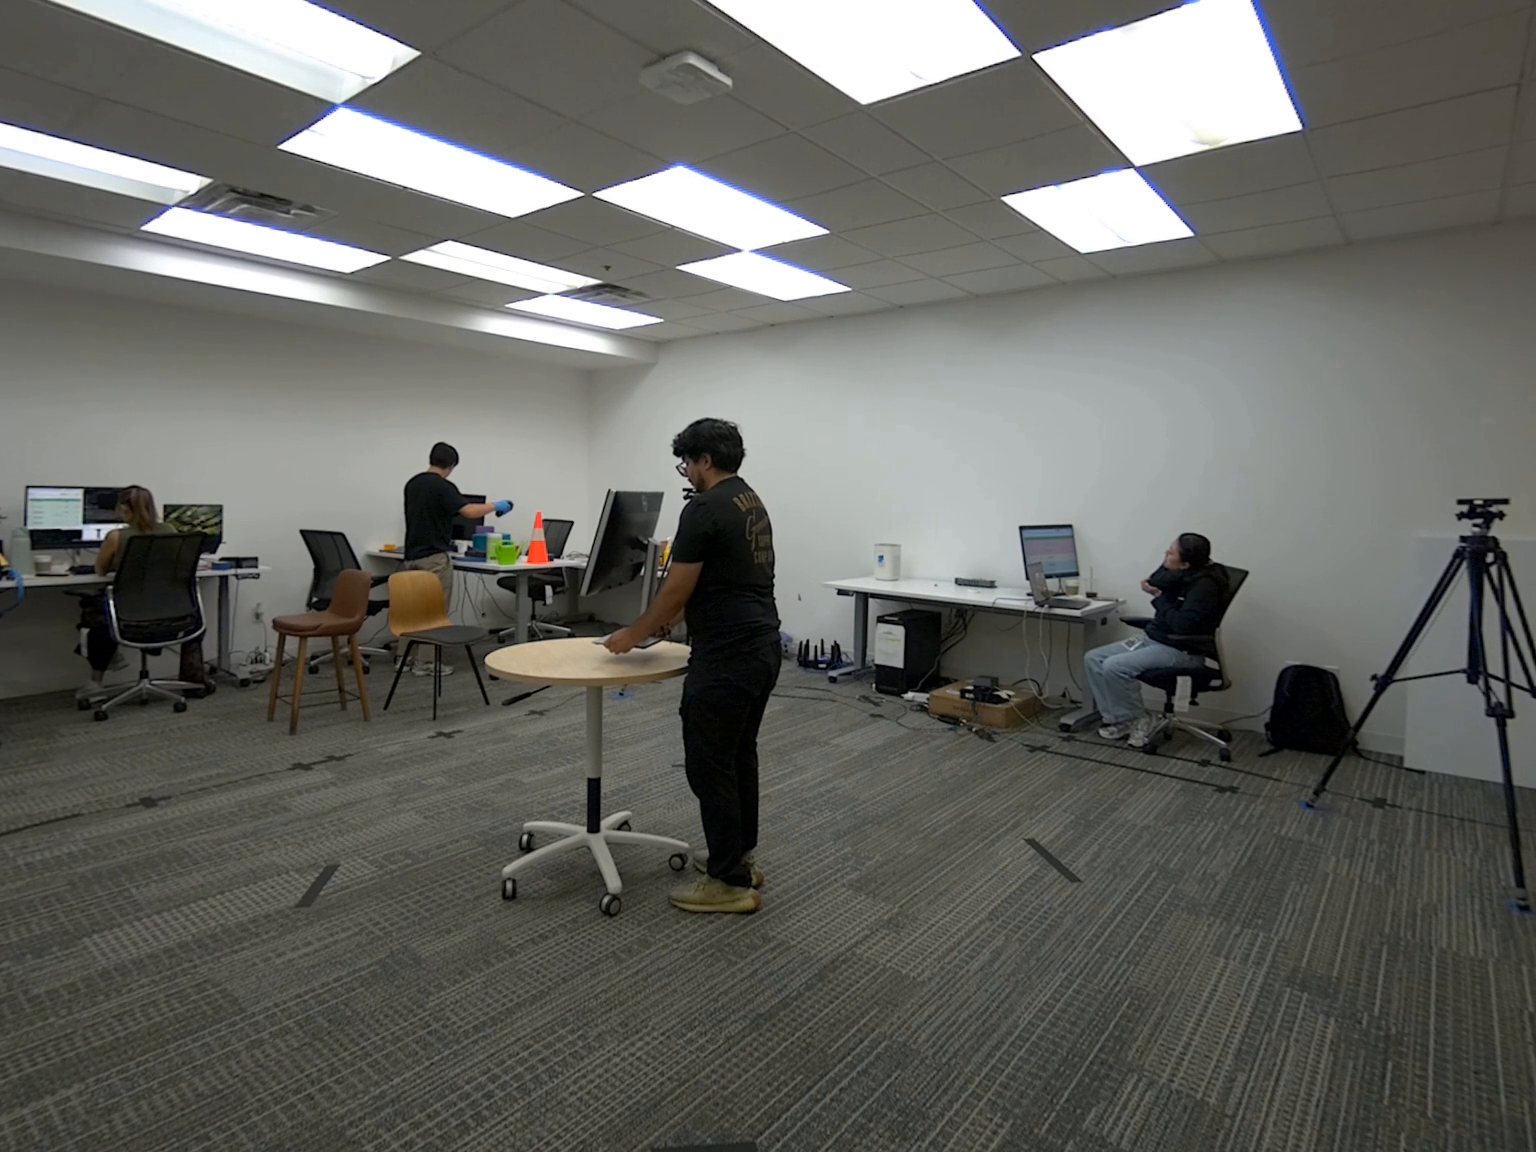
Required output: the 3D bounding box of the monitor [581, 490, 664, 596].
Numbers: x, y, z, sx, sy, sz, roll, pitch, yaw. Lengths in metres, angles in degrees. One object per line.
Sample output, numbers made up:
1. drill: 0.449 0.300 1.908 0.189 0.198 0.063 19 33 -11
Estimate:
1. monitor: -0.462 -0.030 3.016 0.213 0.552 0.560 10 6 10
